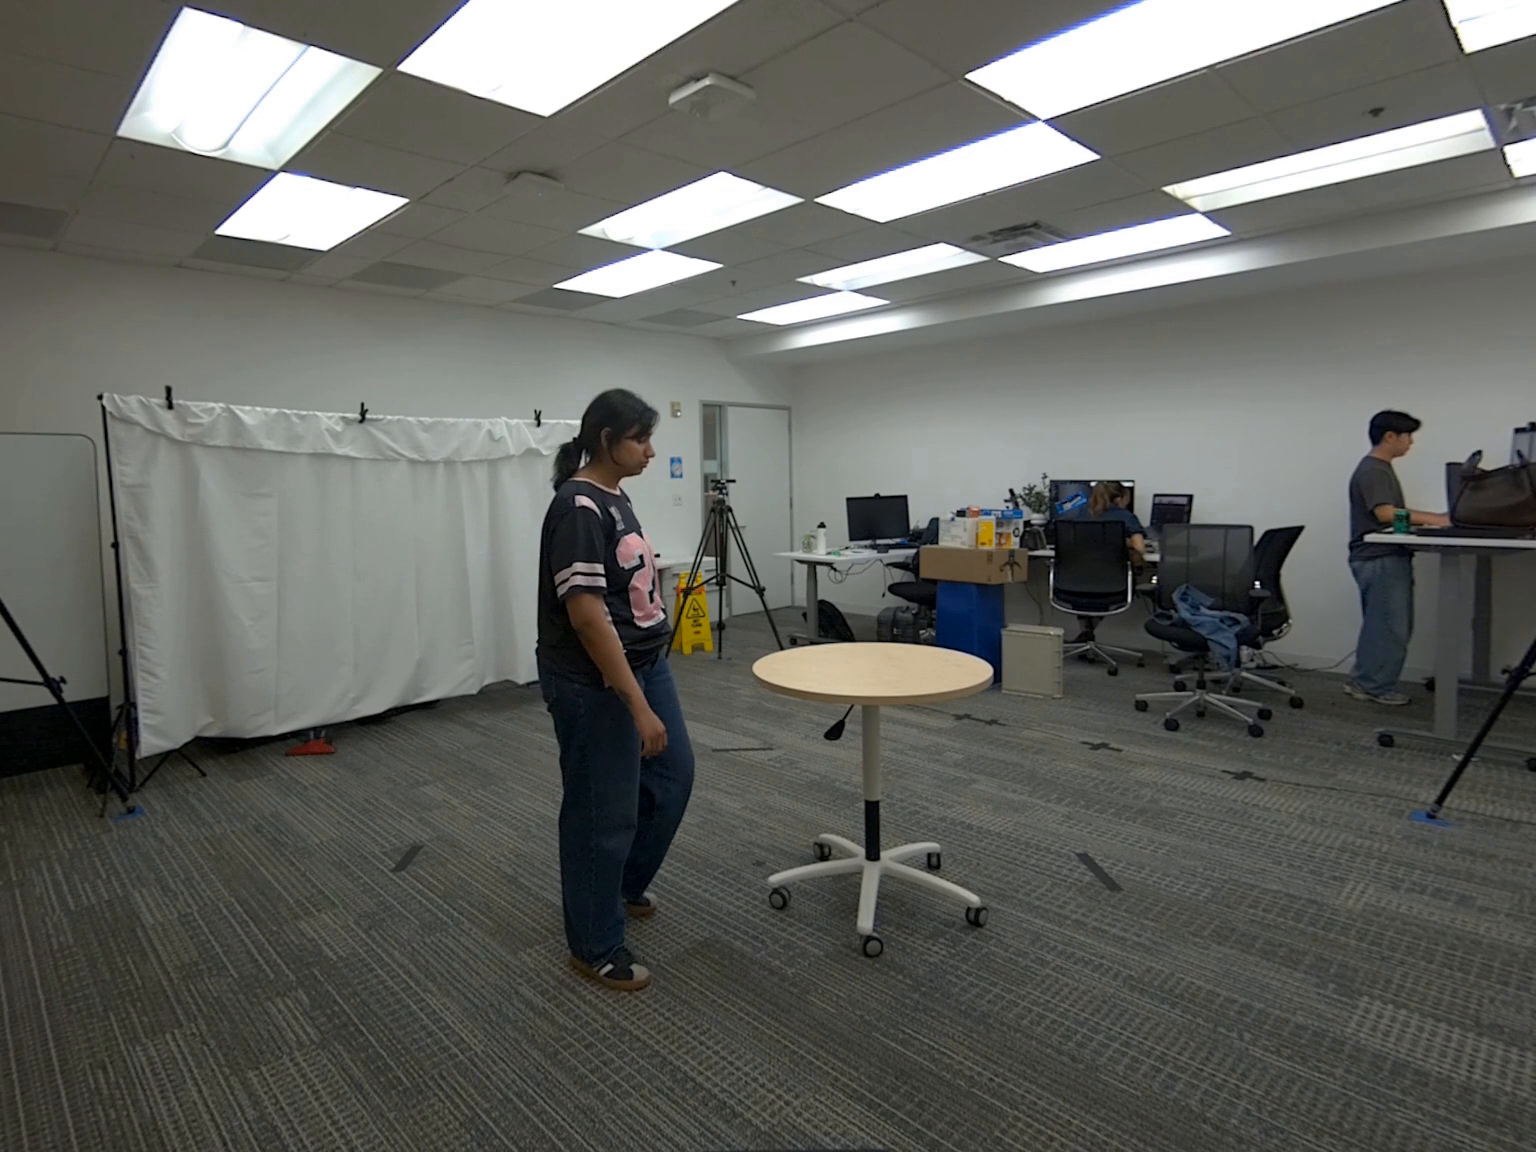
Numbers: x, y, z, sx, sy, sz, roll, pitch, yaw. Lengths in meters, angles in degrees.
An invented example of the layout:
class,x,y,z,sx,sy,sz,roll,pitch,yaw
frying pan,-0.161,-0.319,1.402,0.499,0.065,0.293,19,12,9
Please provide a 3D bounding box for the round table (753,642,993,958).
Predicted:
class,x,y,z,sx,sy,sz,roll,pitch,yaw
round table,0.351,0.686,2.807,0.763,0.791,0.768,-1,5,-2
